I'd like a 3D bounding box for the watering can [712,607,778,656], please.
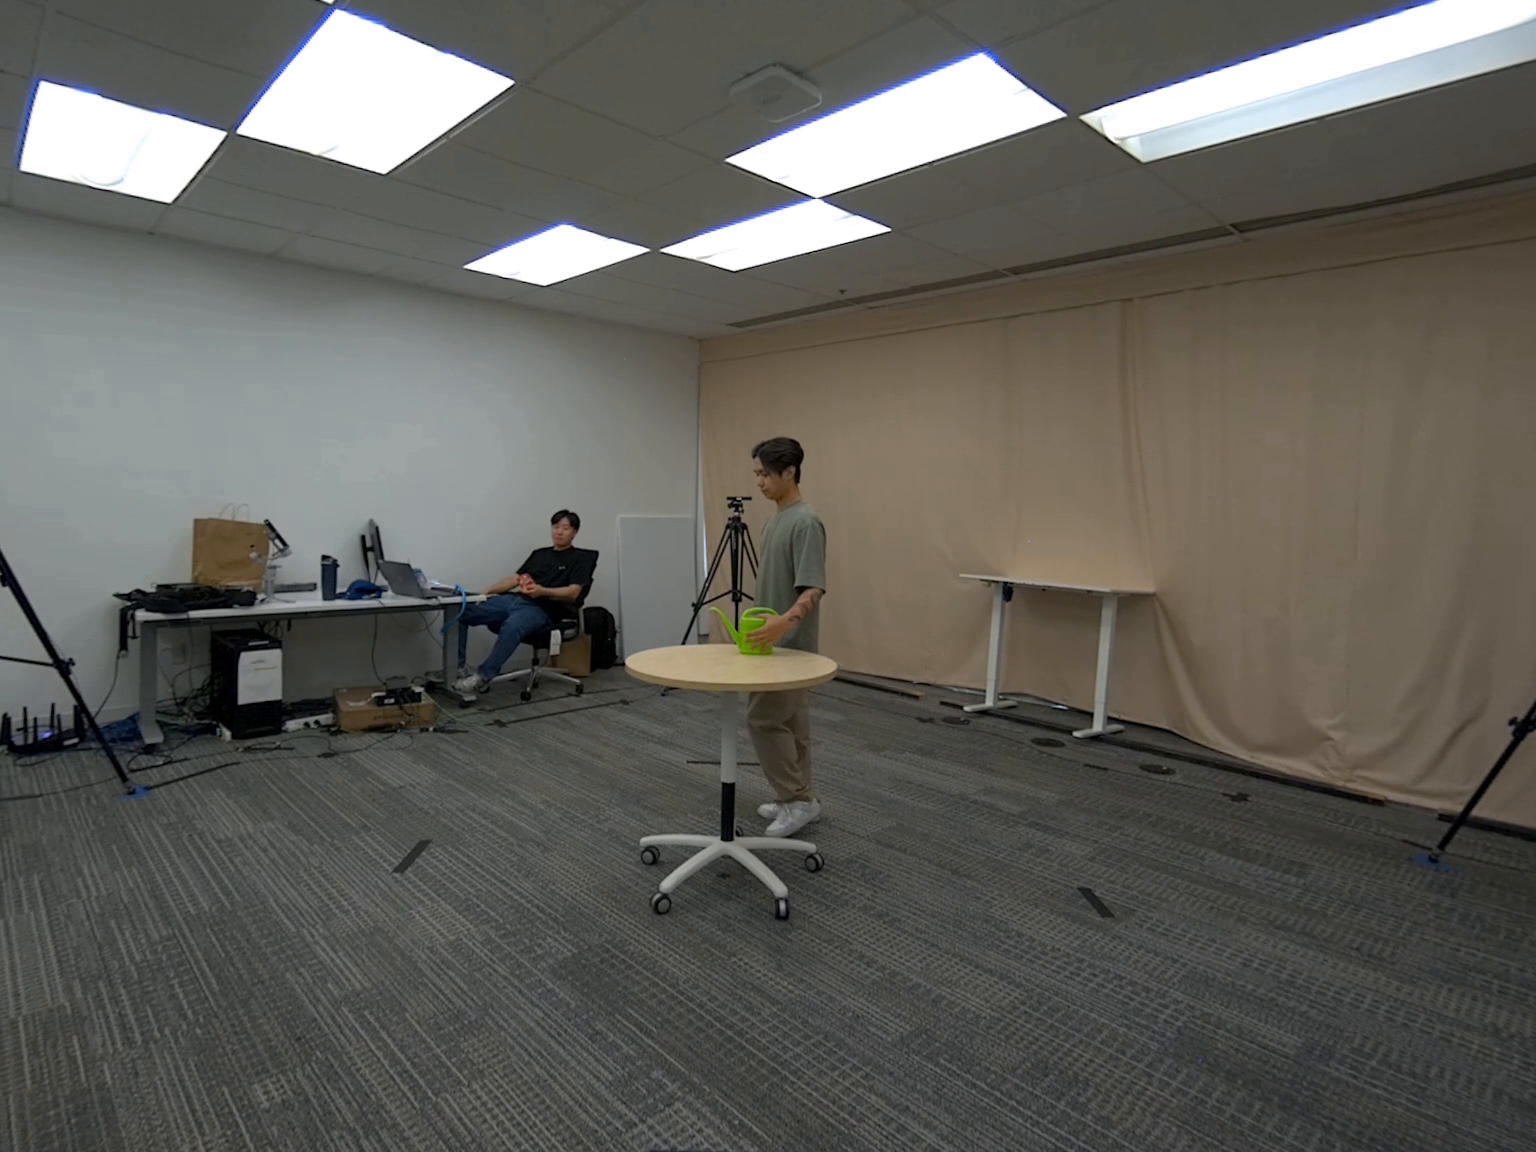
[{"bbox_3d":[-0.092,0.214,3.258,0.279,0.176,0.098,3,3,4],"label":"watering can"}]
